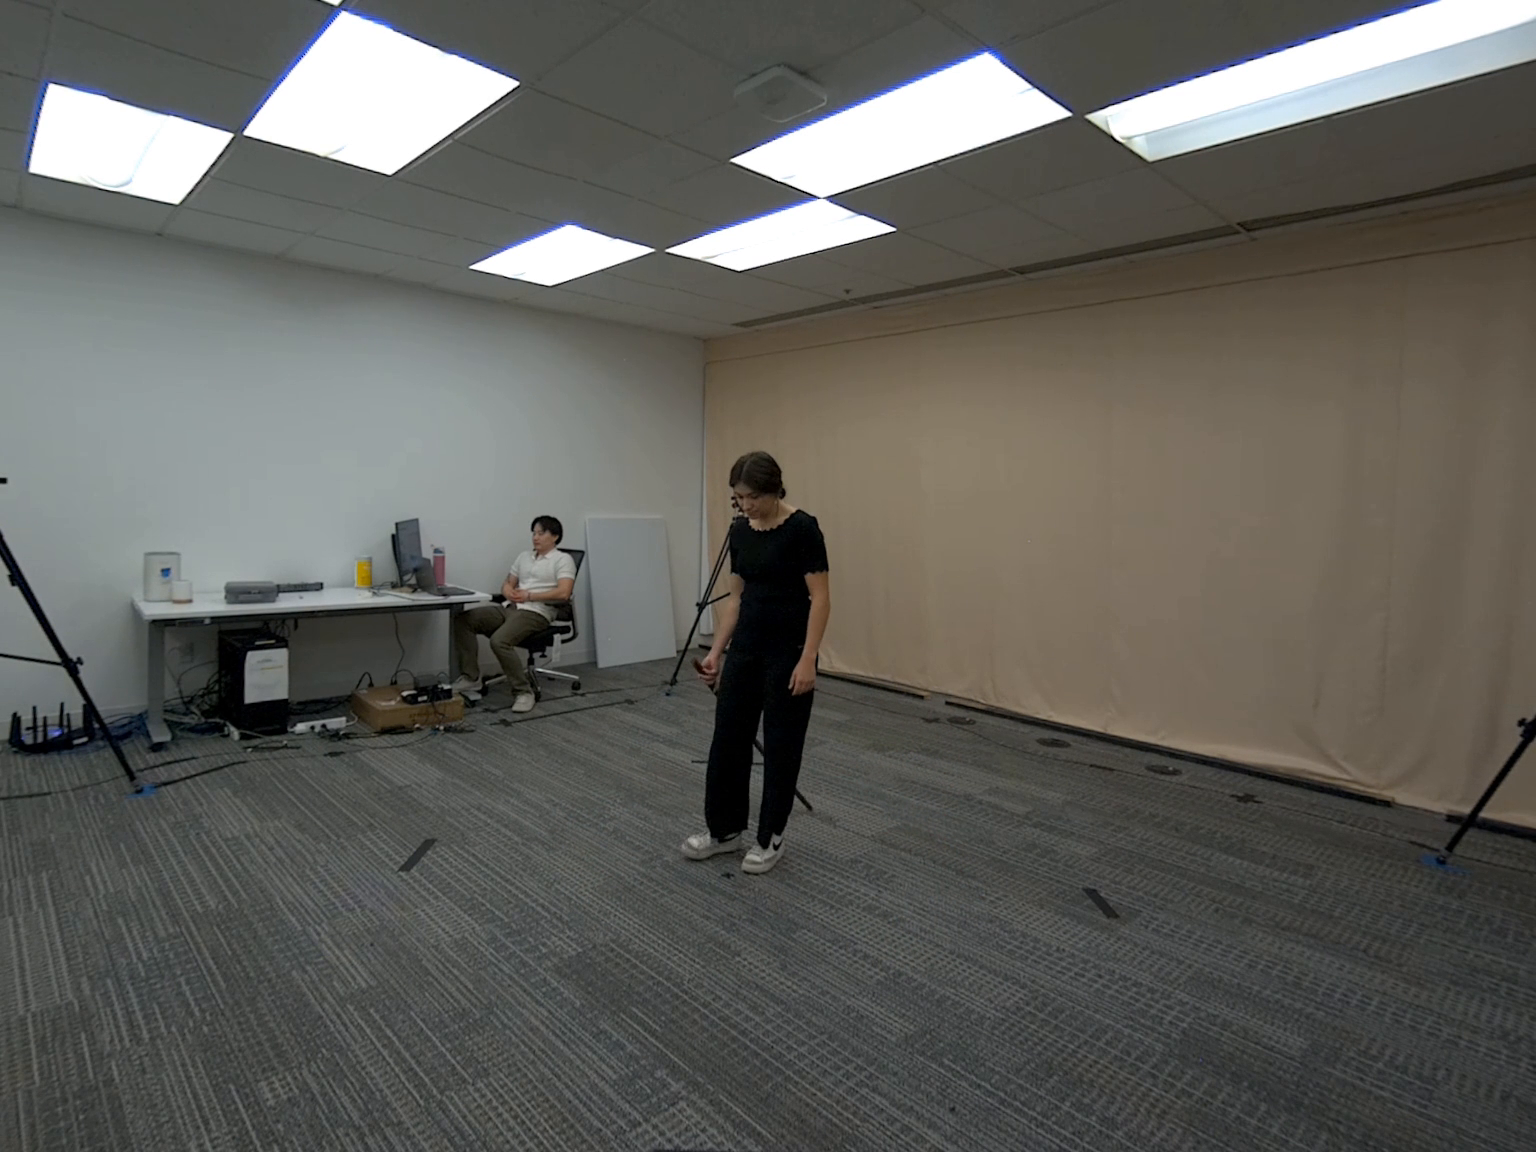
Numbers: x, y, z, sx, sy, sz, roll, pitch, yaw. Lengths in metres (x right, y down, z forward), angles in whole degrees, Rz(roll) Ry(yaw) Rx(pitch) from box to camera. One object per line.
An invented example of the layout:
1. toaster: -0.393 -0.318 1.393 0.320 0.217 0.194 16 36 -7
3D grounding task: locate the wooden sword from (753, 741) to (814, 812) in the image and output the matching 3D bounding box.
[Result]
1. wooden sword: -0.061 0.707 3.553 0.051 0.998 0.024 -28 29 17
